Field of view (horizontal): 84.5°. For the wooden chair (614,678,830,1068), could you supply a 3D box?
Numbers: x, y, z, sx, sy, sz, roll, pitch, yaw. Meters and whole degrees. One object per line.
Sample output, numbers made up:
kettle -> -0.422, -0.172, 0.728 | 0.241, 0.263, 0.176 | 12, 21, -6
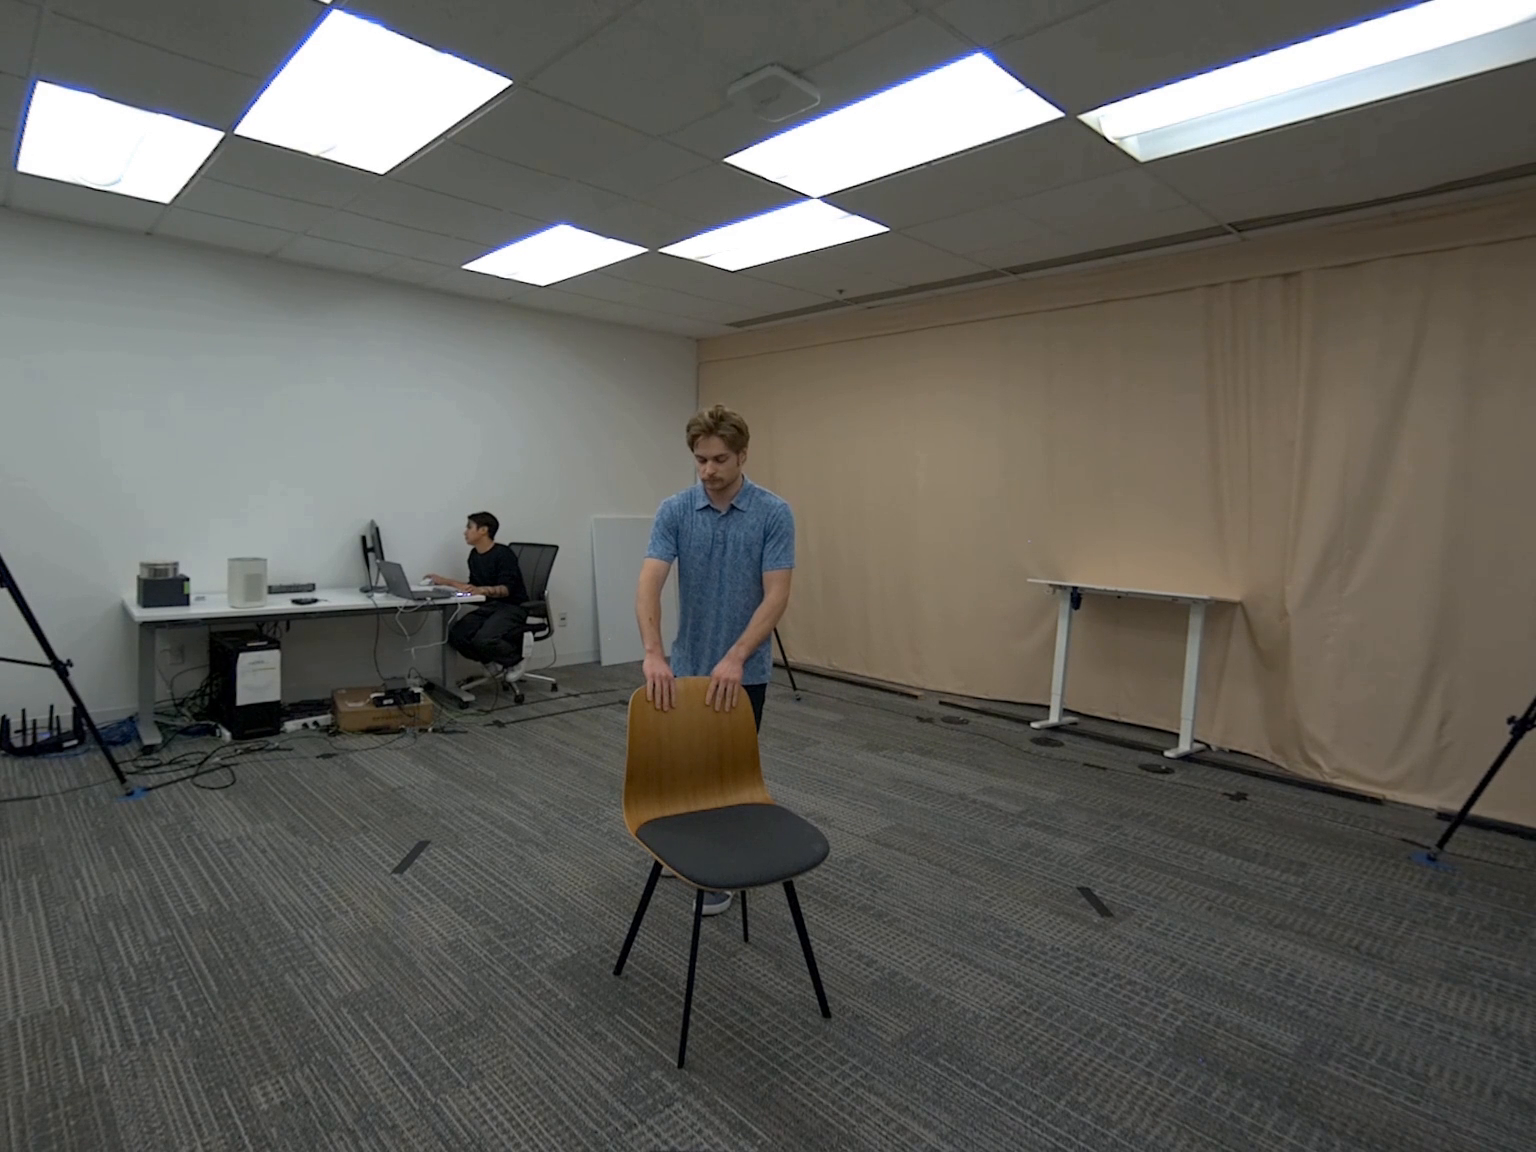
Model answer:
wooden chair -> -0.135, 0.753, 2.312 | 0.468, 0.877, 0.534 | -1, 0, -30
